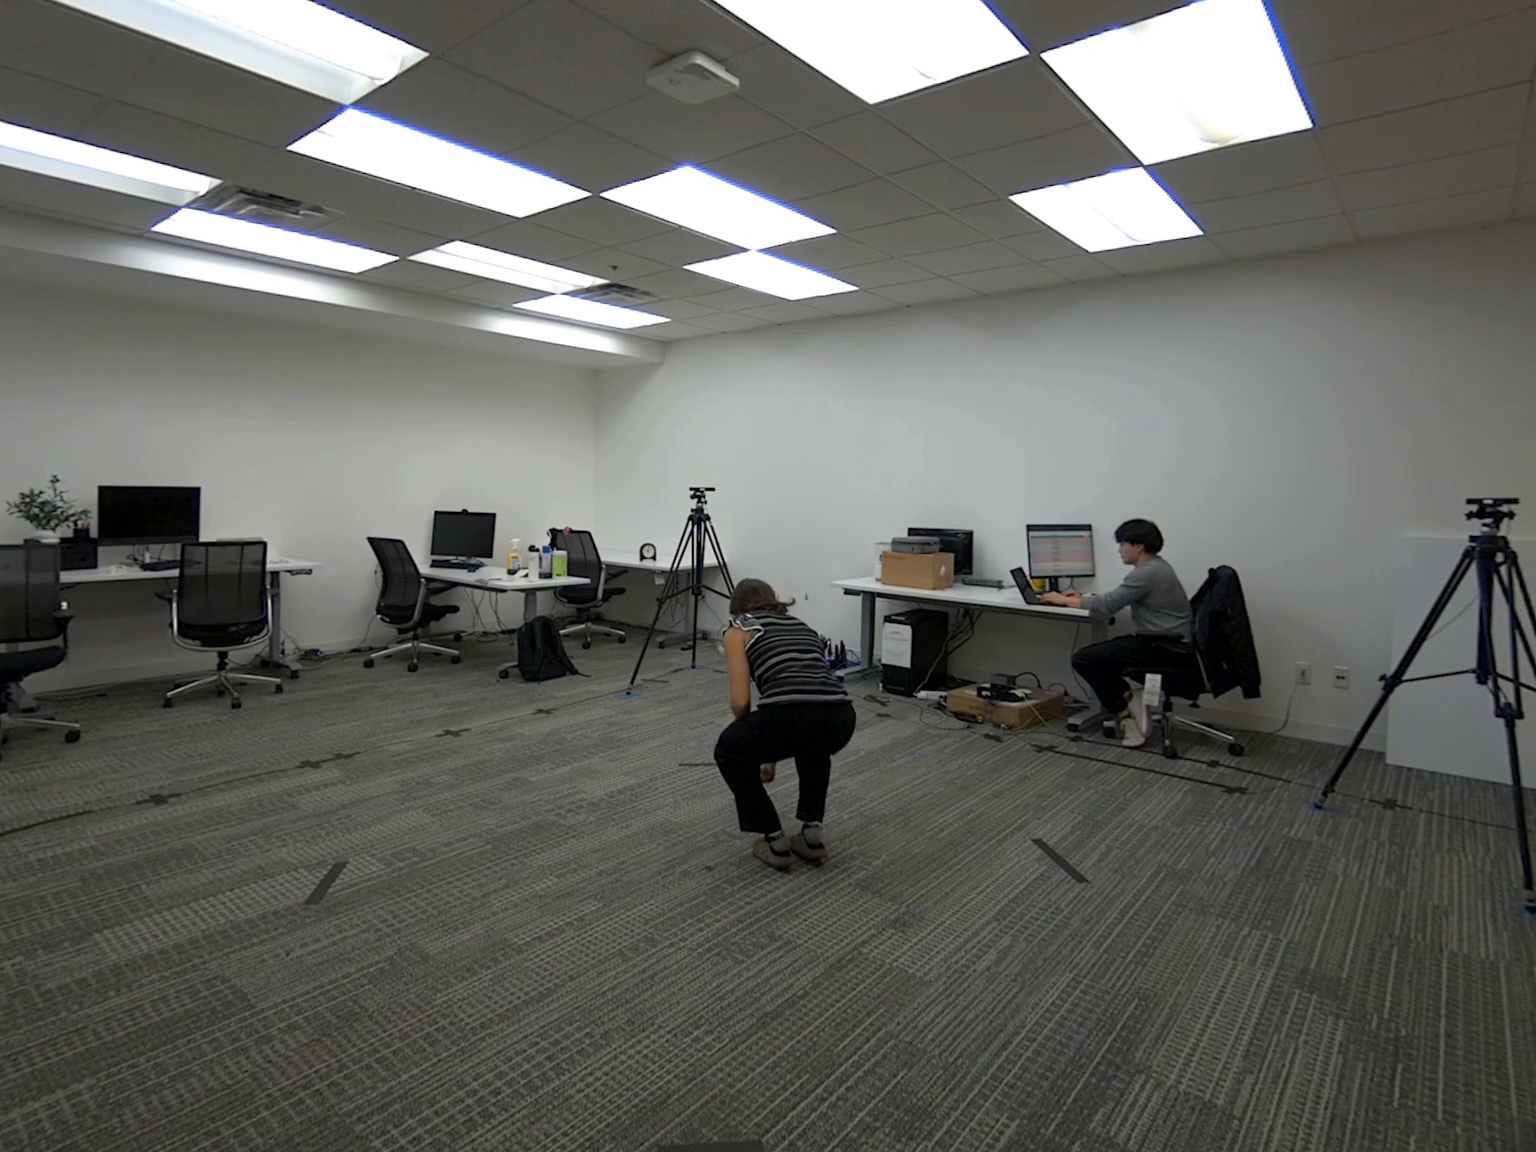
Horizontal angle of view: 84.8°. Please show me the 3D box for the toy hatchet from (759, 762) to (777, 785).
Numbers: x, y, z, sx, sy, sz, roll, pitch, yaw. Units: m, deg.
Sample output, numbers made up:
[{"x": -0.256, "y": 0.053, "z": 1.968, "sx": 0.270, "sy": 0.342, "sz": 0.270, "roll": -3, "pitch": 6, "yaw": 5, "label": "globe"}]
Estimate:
[{"x": -0.037, "y": 0.836, "z": 3.642, "sx": 0.128, "sy": 0.030, "sz": 0.273, "roll": -10, "pitch": -7, "yaw": -27, "label": "toy hatchet"}]
